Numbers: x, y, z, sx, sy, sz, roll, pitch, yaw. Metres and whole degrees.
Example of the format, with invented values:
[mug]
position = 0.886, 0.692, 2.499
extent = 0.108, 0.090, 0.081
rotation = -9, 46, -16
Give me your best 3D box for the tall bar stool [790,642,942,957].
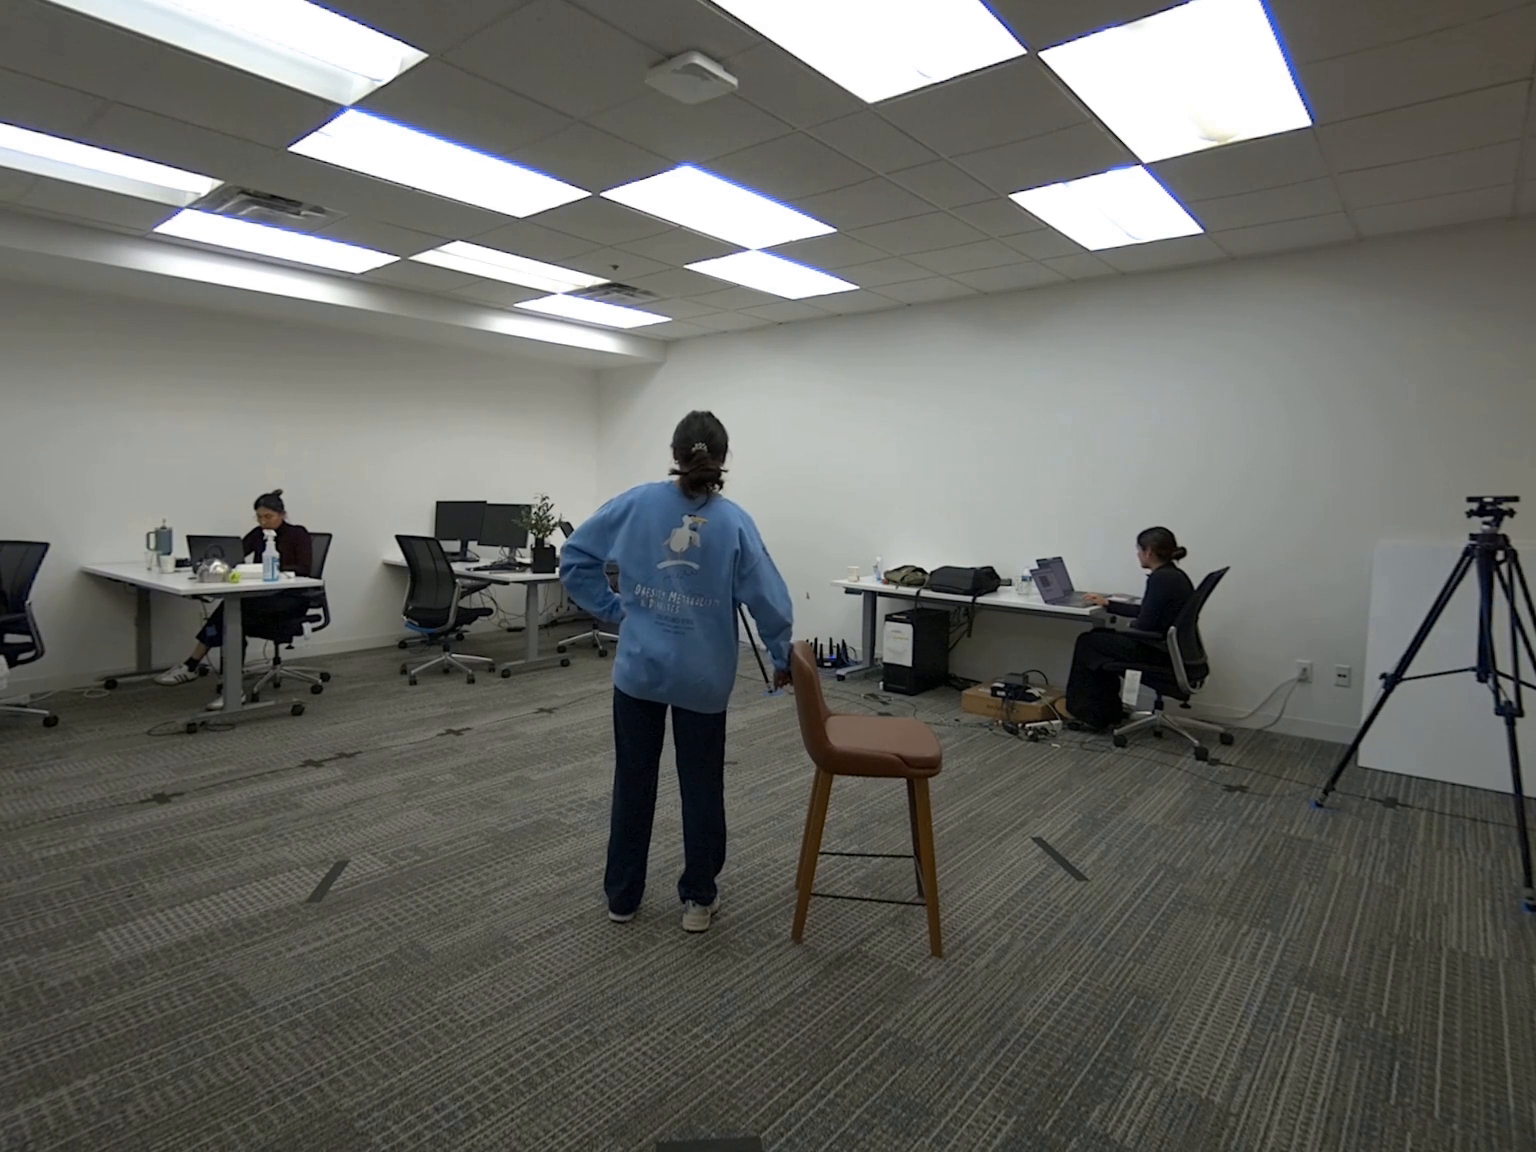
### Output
[tall bar stool]
position = 0.308, 0.677, 2.747
extent = 0.471, 0.887, 0.454
rotation = 0, 3, 6
